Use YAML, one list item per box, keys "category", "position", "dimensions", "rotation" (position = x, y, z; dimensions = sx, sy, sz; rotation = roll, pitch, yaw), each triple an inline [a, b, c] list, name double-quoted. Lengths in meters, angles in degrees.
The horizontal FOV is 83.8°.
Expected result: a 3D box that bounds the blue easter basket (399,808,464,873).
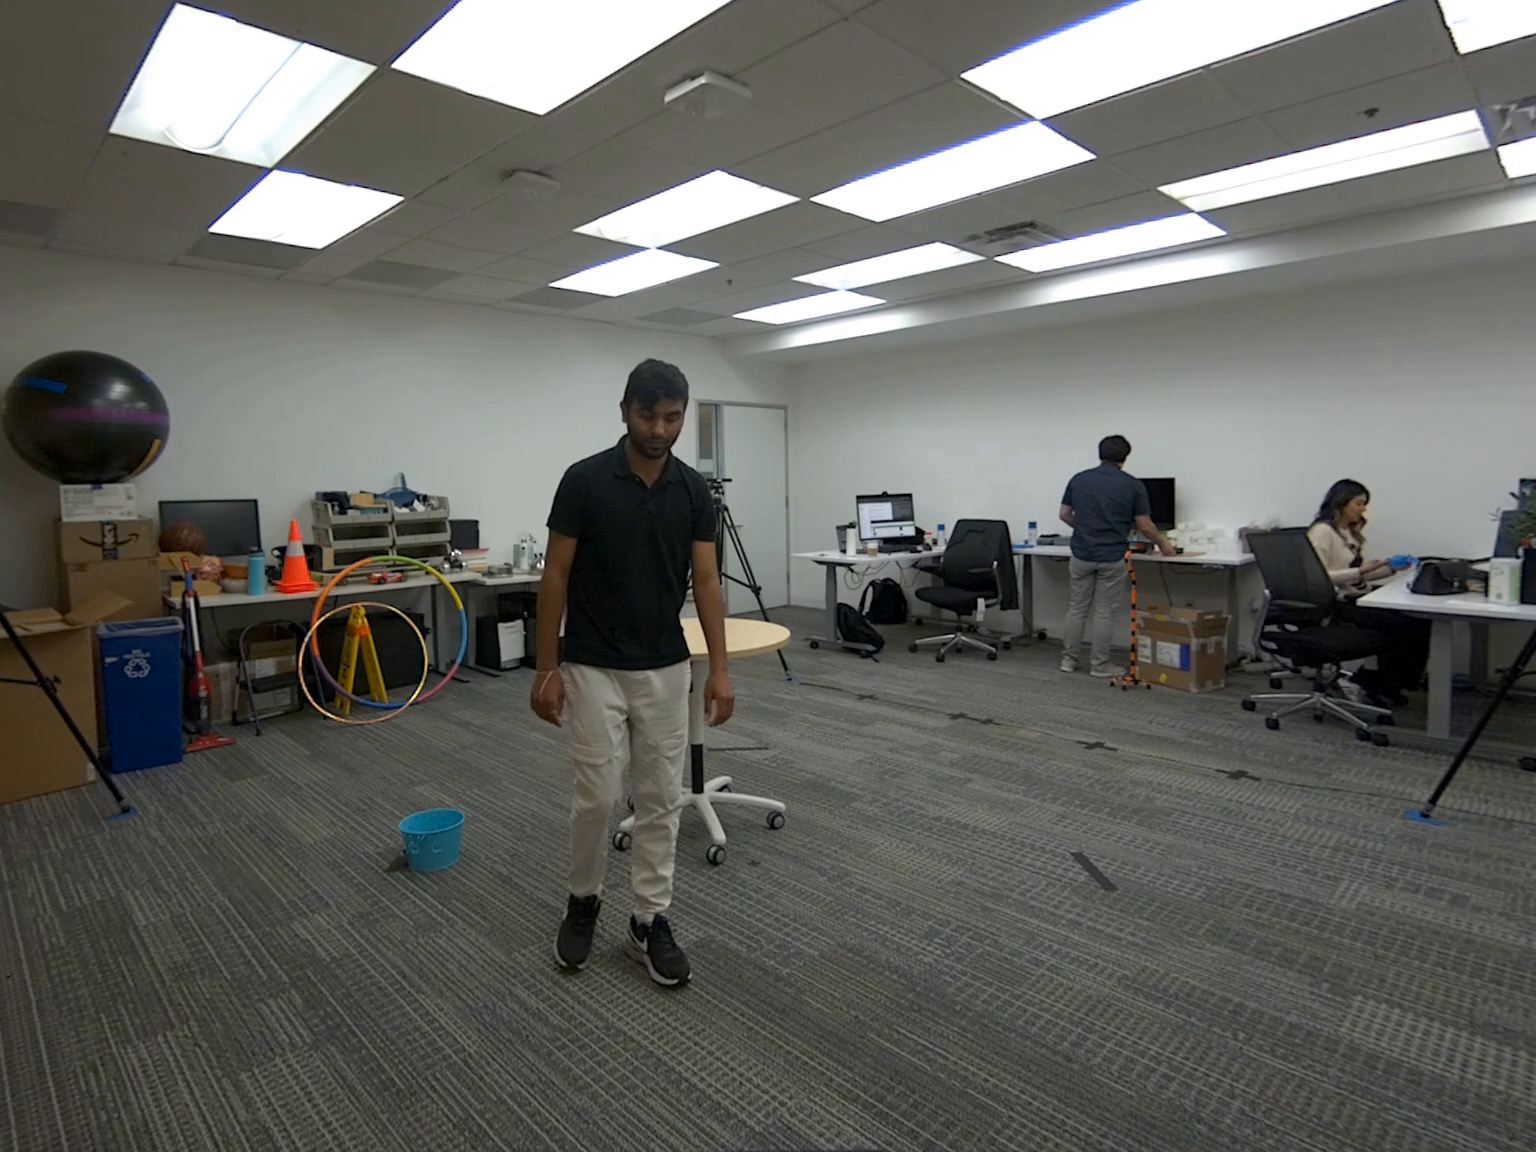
- category: "blue easter basket"
  position: [-1.249, 0.983, 3.190]
  dimensions: [0.243, 0.155, 0.245]
  rotation: [-1, 6, -2]
